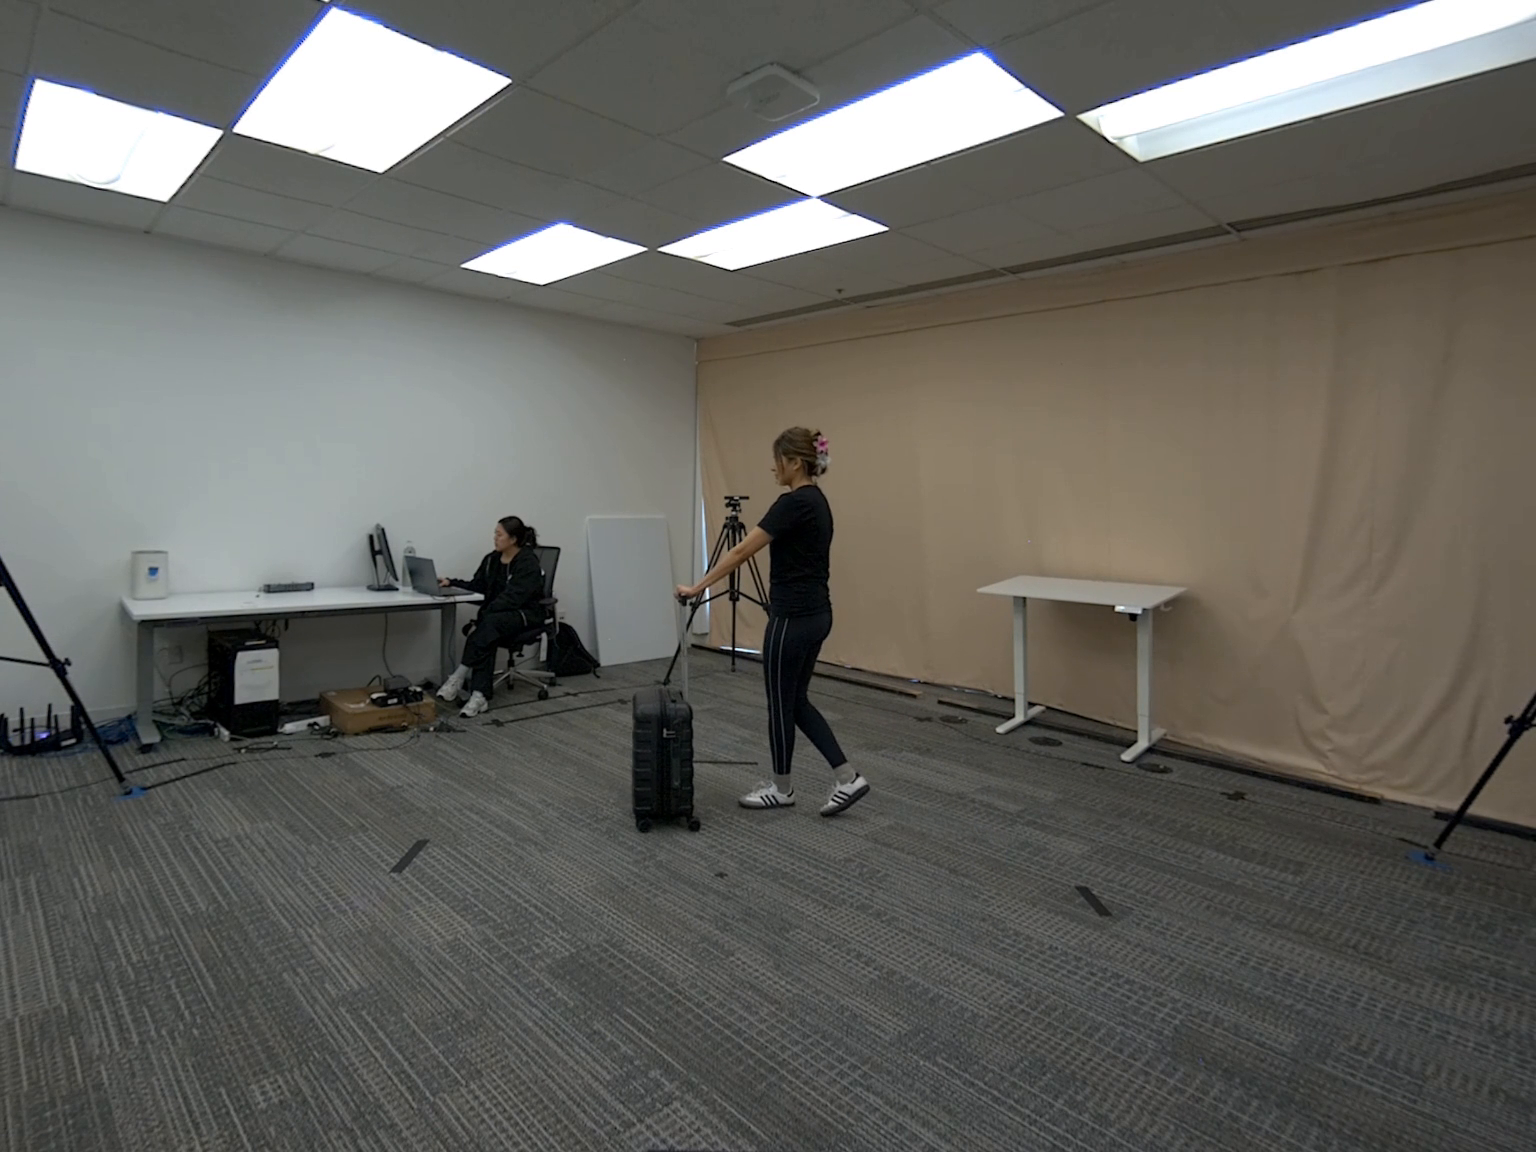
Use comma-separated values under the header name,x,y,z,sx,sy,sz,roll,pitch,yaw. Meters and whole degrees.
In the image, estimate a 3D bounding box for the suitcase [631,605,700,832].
name,x,y,z,sx,sy,sz,roll,pitch,yaw
suitcase,-0.464,0.574,3.625,0.256,0.976,0.387,-2,3,-8
